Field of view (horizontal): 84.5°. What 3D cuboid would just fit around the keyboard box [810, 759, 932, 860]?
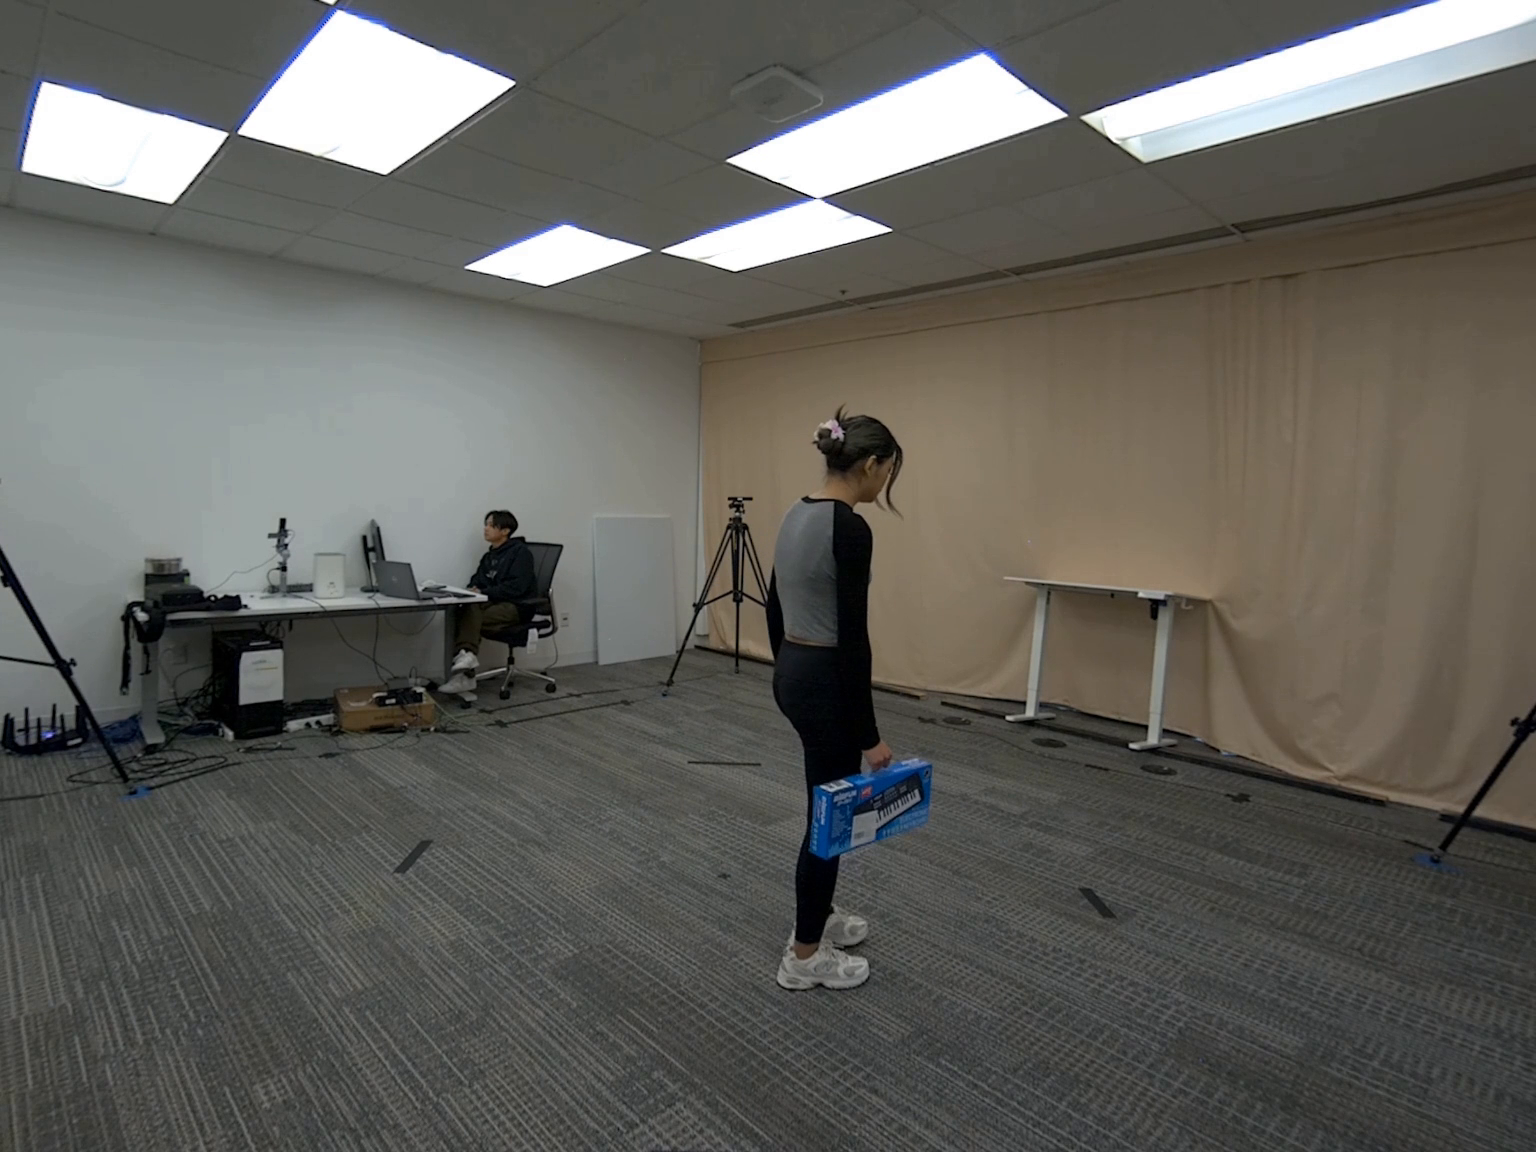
[{"bbox_3d":[0.277,0.620,2.258,0.426,0.175,0.060,-1,5,-44],"label":"keyboard box"}]
